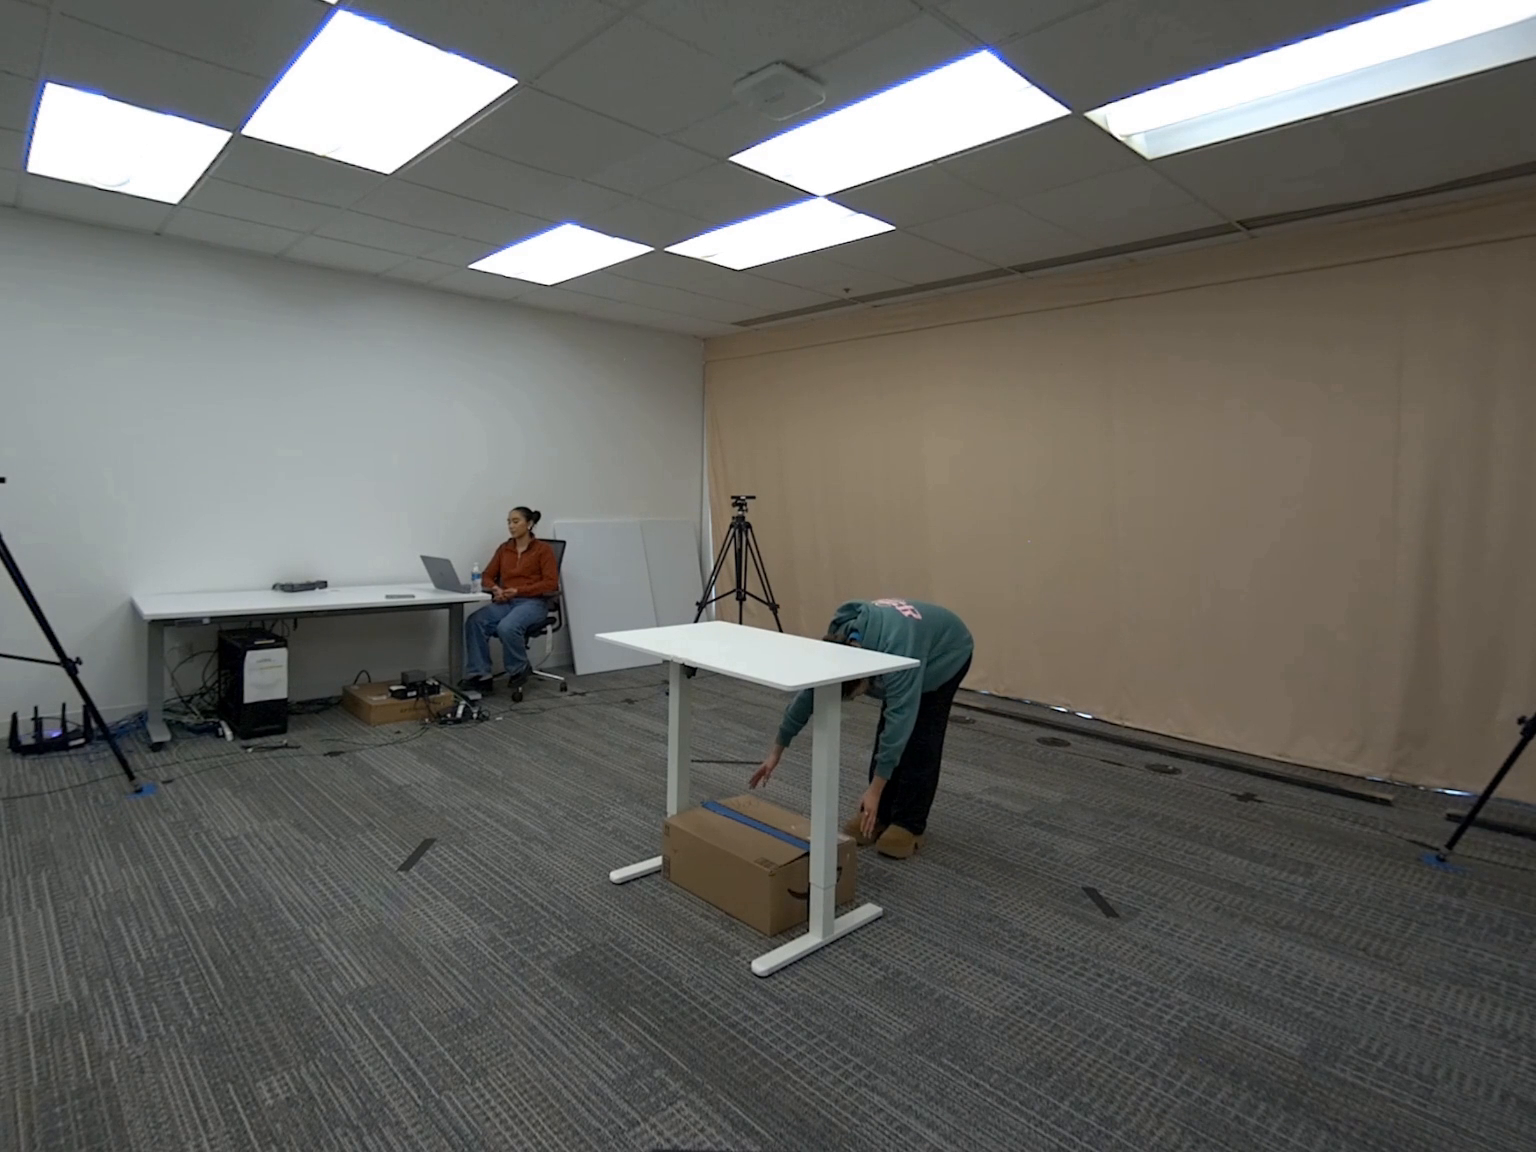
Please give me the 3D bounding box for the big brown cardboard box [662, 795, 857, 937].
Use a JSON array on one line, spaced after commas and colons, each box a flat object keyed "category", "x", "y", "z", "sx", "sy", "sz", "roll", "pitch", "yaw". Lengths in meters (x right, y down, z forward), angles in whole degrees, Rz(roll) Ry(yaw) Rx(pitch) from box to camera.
[{"category": "big brown cardboard box", "x": -0.043, "y": 1.003, "z": 2.993, "sx": 0.408, "sy": 0.232, "sz": 0.604, "roll": -3, "pitch": 6, "yaw": -43}]
